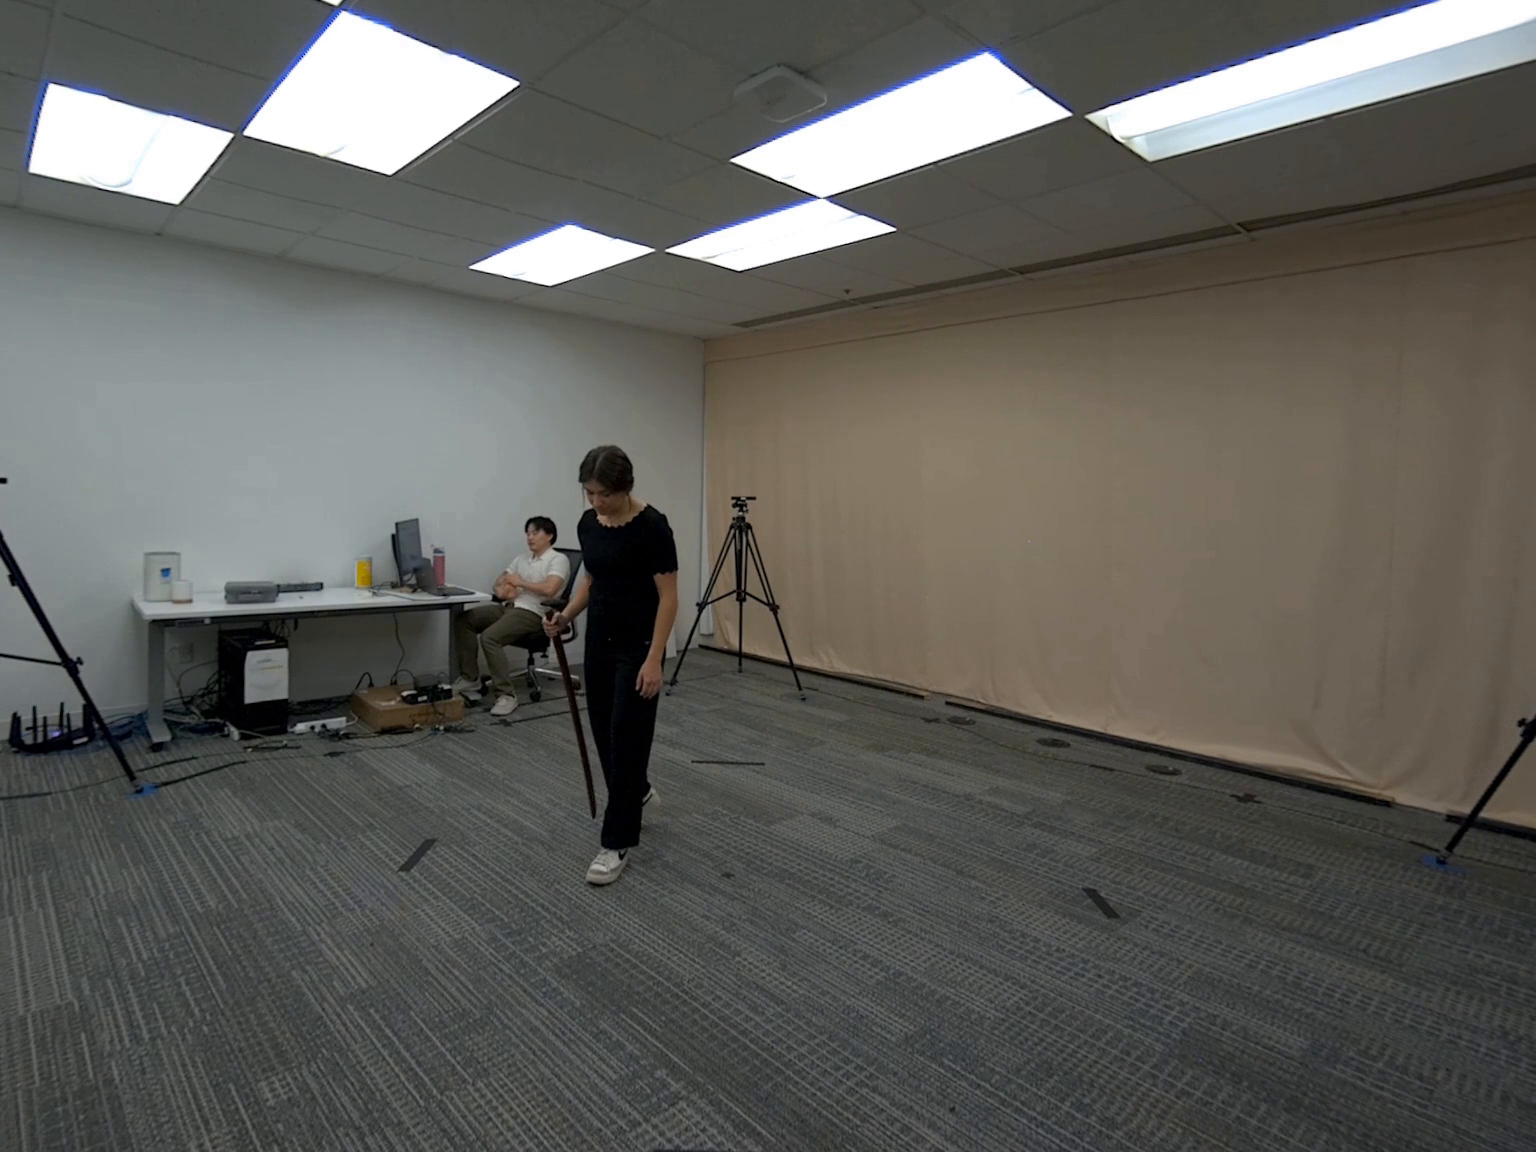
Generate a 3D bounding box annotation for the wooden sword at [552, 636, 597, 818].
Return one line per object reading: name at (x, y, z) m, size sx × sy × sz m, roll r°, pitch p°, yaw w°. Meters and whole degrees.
wooden sword at (-0.777, 0.581, 3.348) m, size 0.051 × 1.005 × 0.025 m, roll -11°, pitch 26°, yaw -10°
